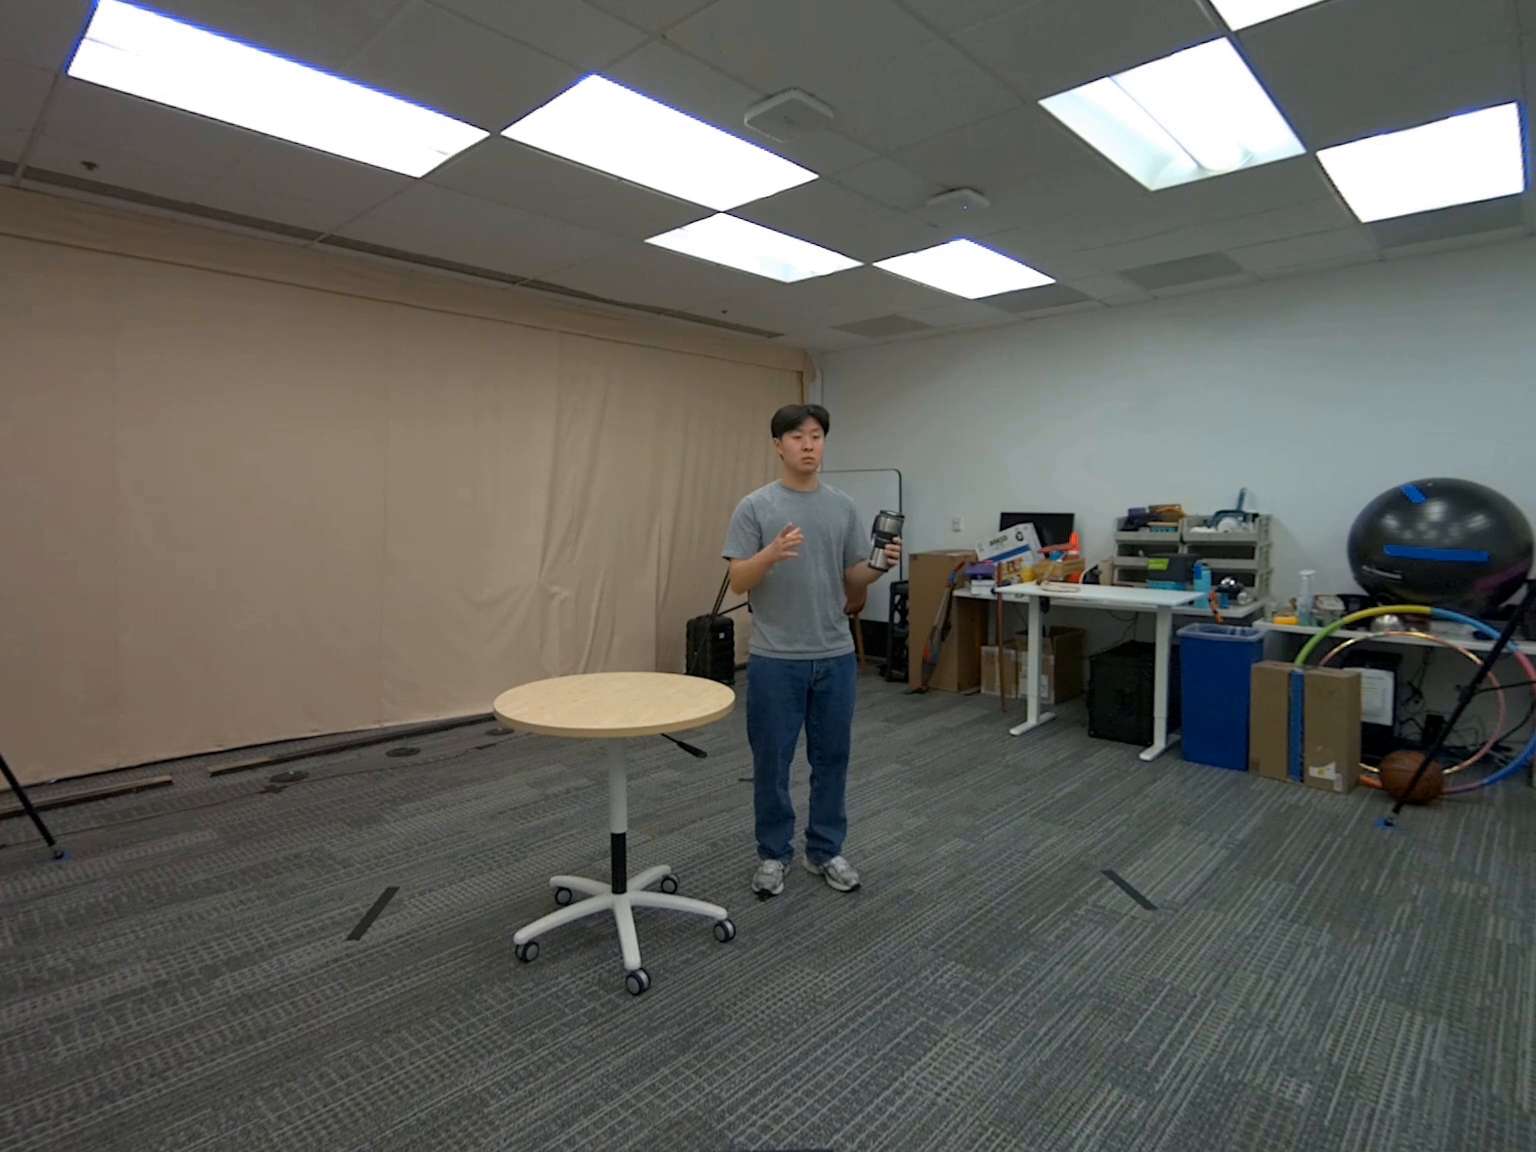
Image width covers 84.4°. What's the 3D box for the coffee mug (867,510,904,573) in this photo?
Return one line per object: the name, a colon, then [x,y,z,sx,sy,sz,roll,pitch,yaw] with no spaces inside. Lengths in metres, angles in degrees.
coffee mug: [0.360,-0.112,2.866,0.088,0.202,0.122,16,8,3]
